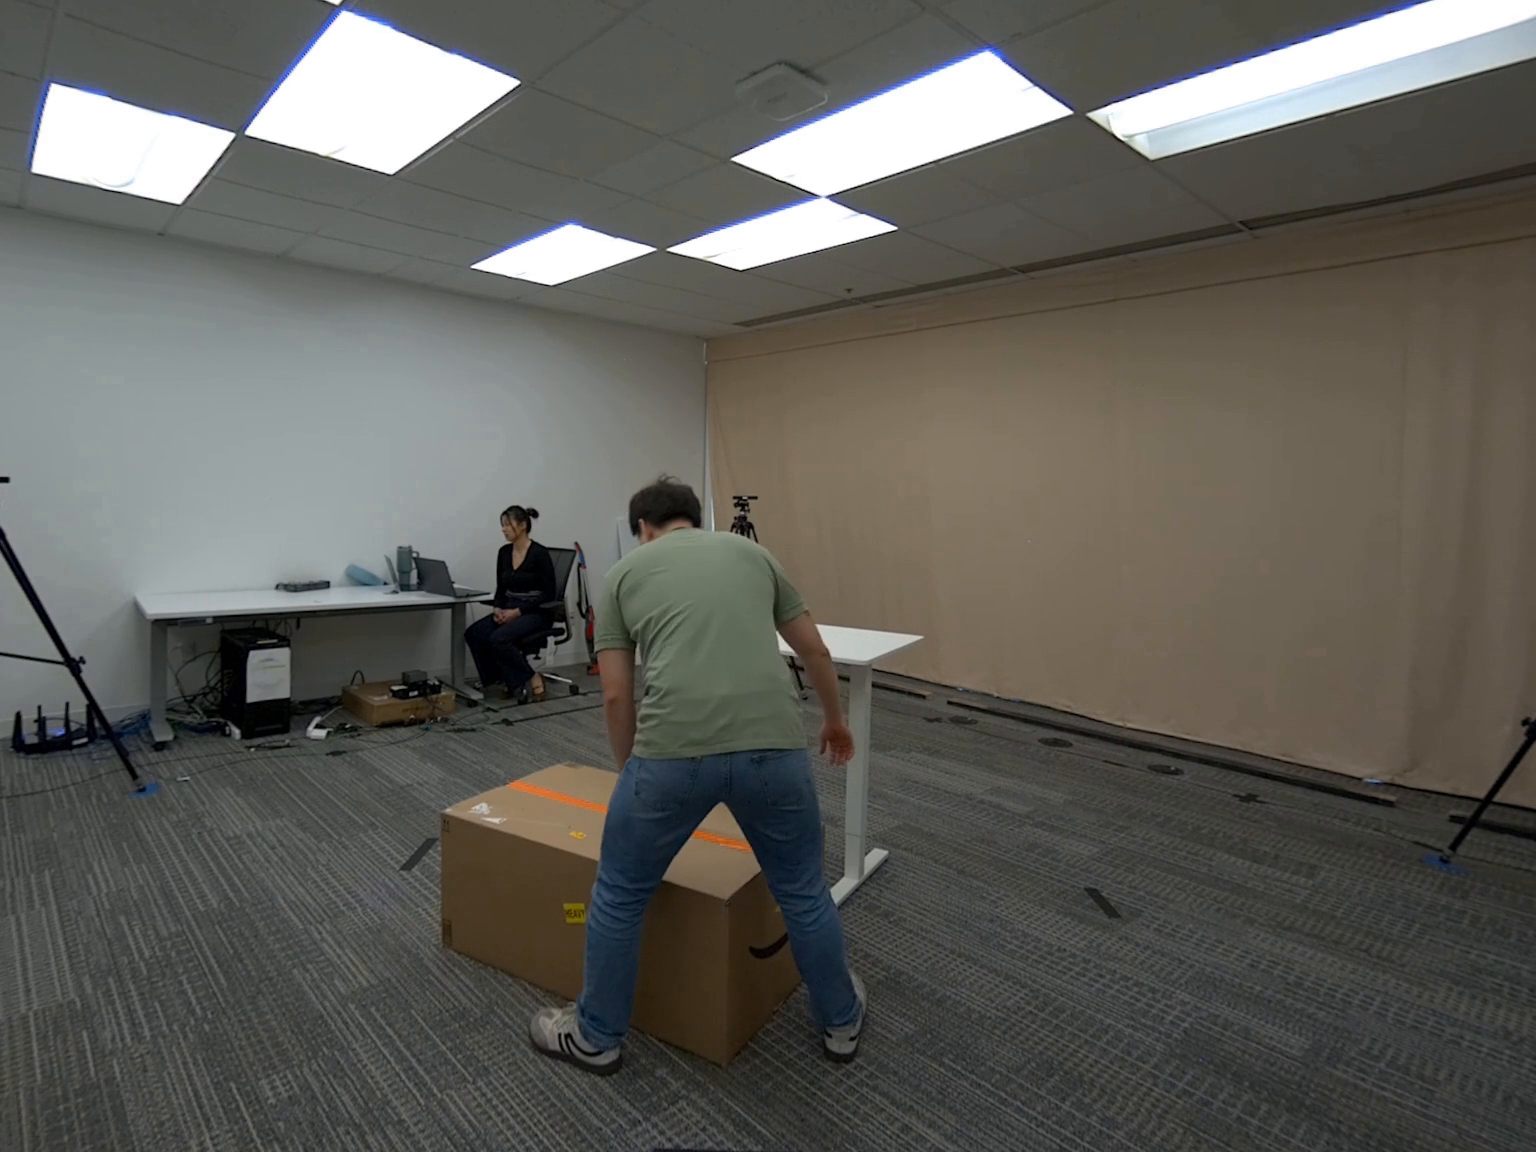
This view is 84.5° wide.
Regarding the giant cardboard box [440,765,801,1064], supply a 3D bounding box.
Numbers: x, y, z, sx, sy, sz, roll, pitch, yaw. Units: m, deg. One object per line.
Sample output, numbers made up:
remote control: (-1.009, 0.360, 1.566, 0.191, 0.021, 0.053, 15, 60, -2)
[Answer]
giant cardboard box: (-0.420, 0.935, 2.548, 1.048, 0.425, 0.567, 4, 6, 30)
